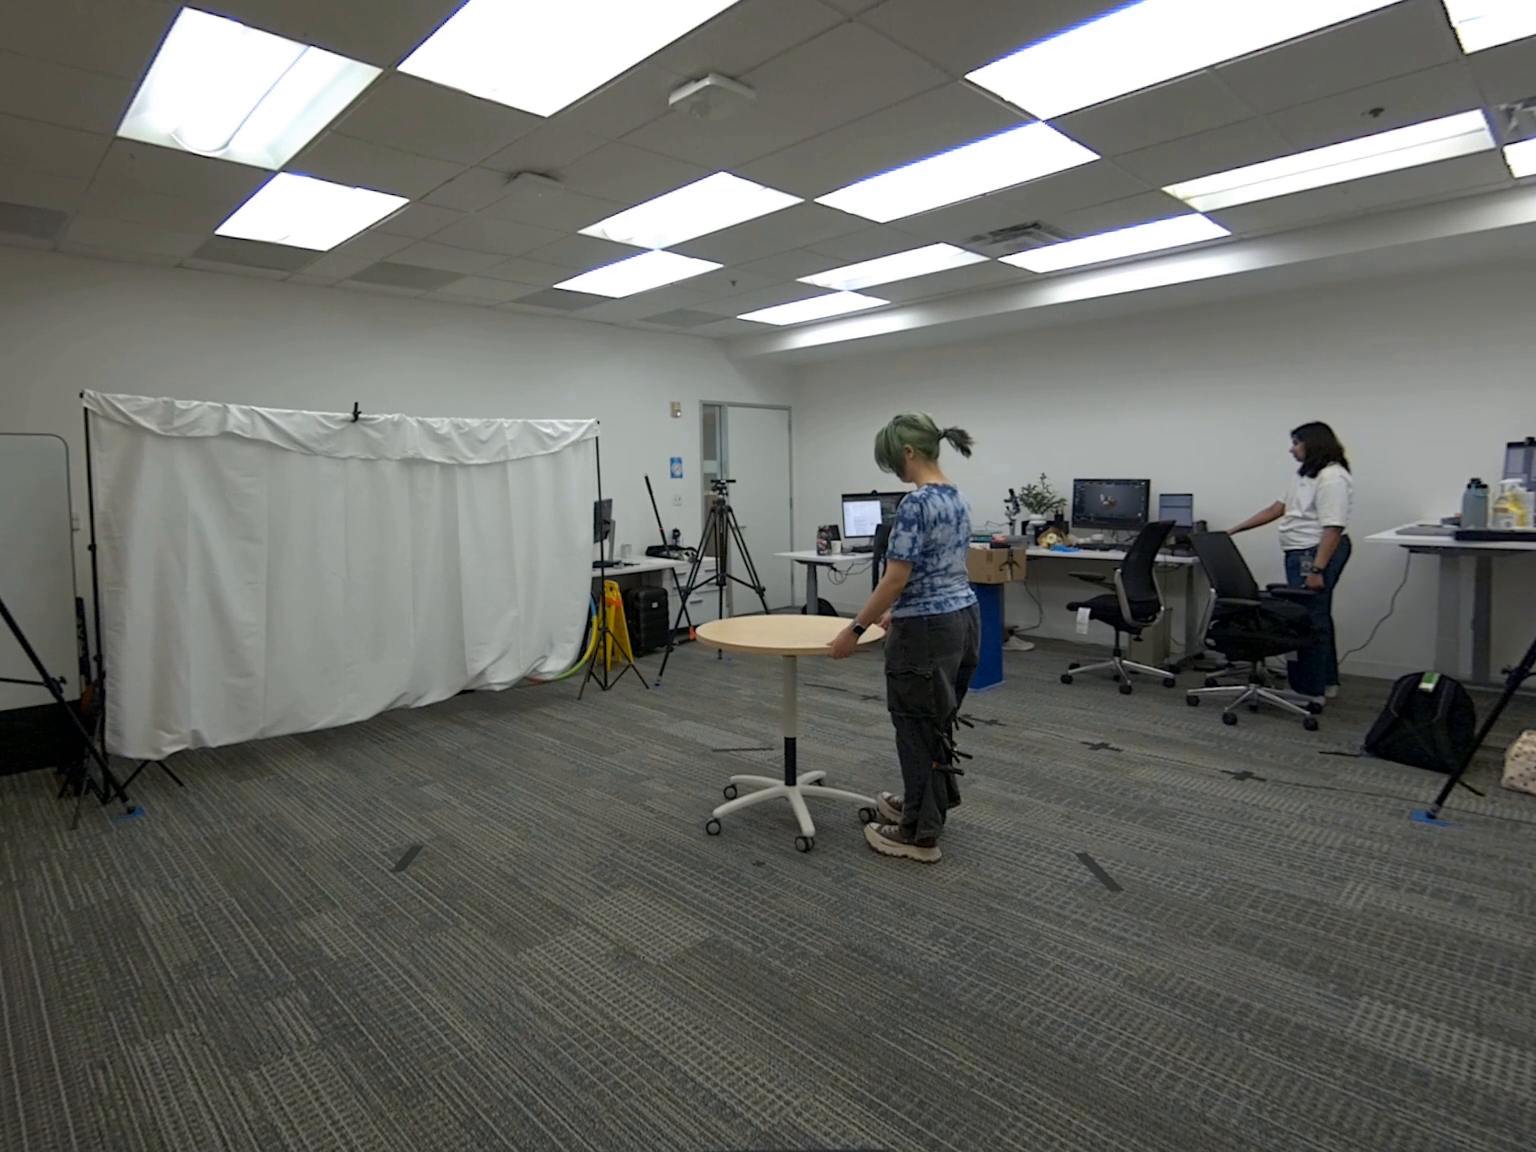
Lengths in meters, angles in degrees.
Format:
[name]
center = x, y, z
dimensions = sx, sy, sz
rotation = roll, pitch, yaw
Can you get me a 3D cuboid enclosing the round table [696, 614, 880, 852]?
[round table]
center = 0.082, 0.610, 3.501
dimensions = 0.763, 0.791, 0.768
rotation = -1, 5, -2
